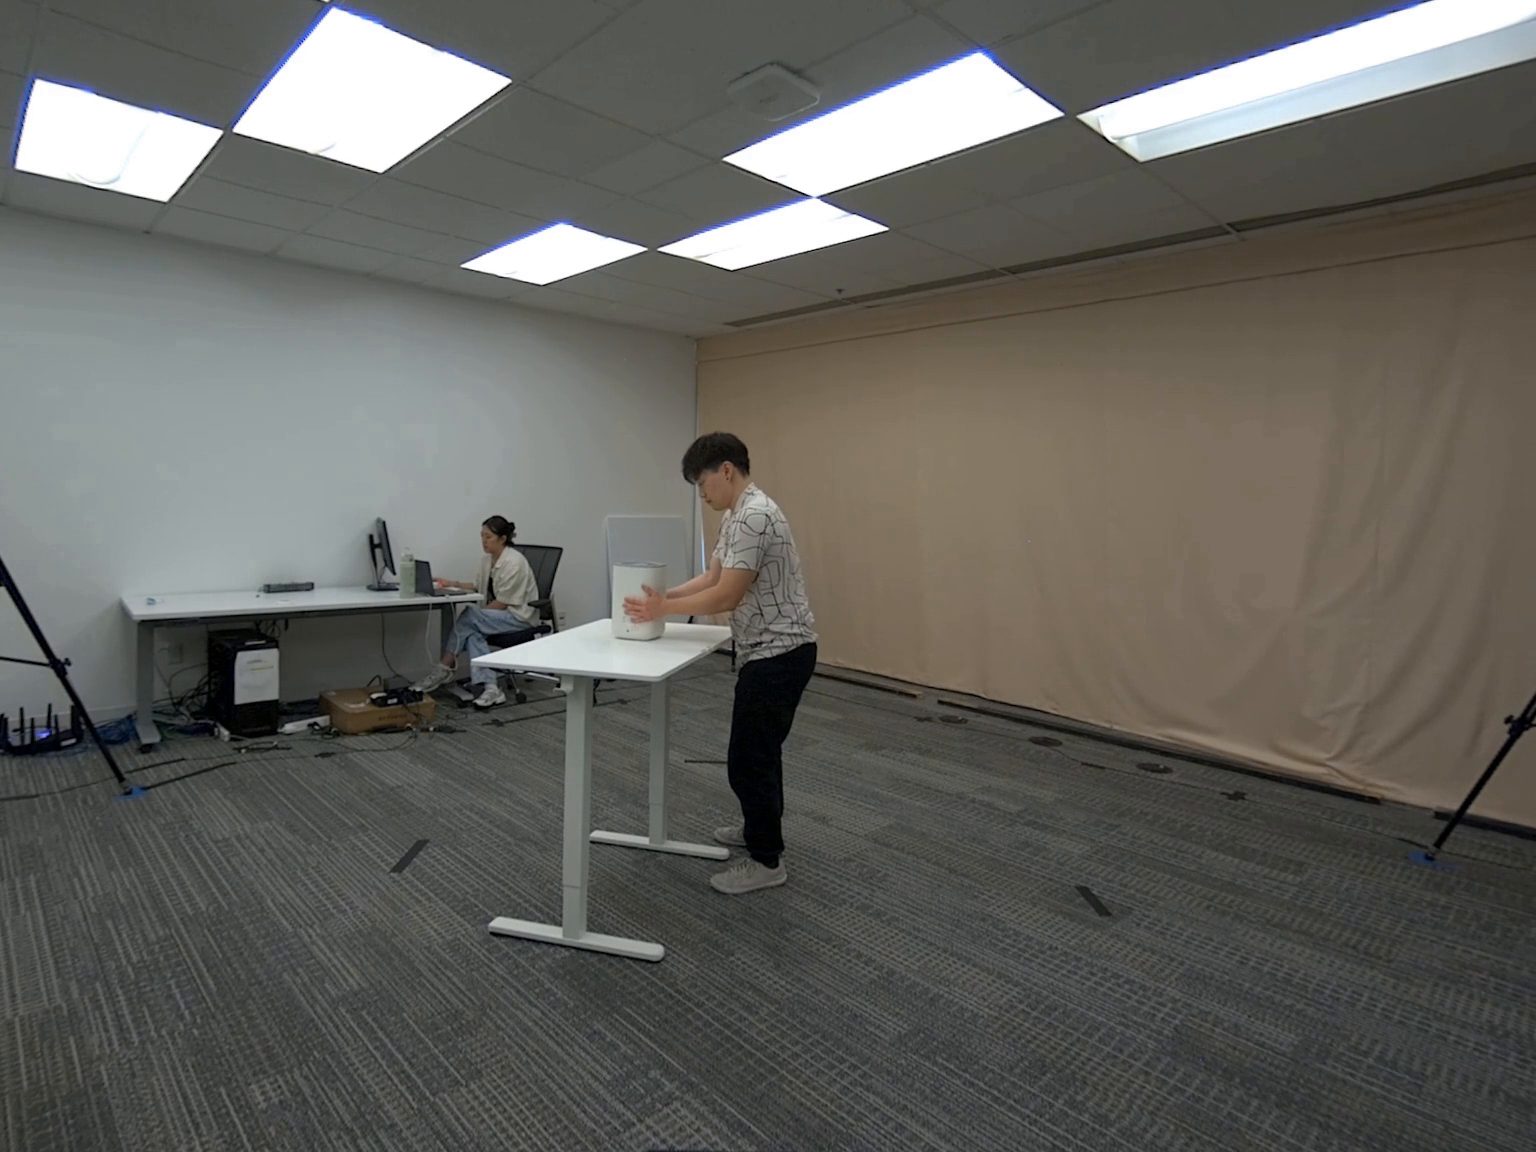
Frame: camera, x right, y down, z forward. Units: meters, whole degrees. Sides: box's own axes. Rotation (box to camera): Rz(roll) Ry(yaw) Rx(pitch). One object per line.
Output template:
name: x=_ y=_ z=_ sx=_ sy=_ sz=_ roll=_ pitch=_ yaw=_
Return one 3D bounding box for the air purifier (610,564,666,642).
air purifier: x=-0.465 y=0.090 z=3.022 sx=0.173 sy=0.264 sz=0.170 roll=4 pitch=6 yaw=17
